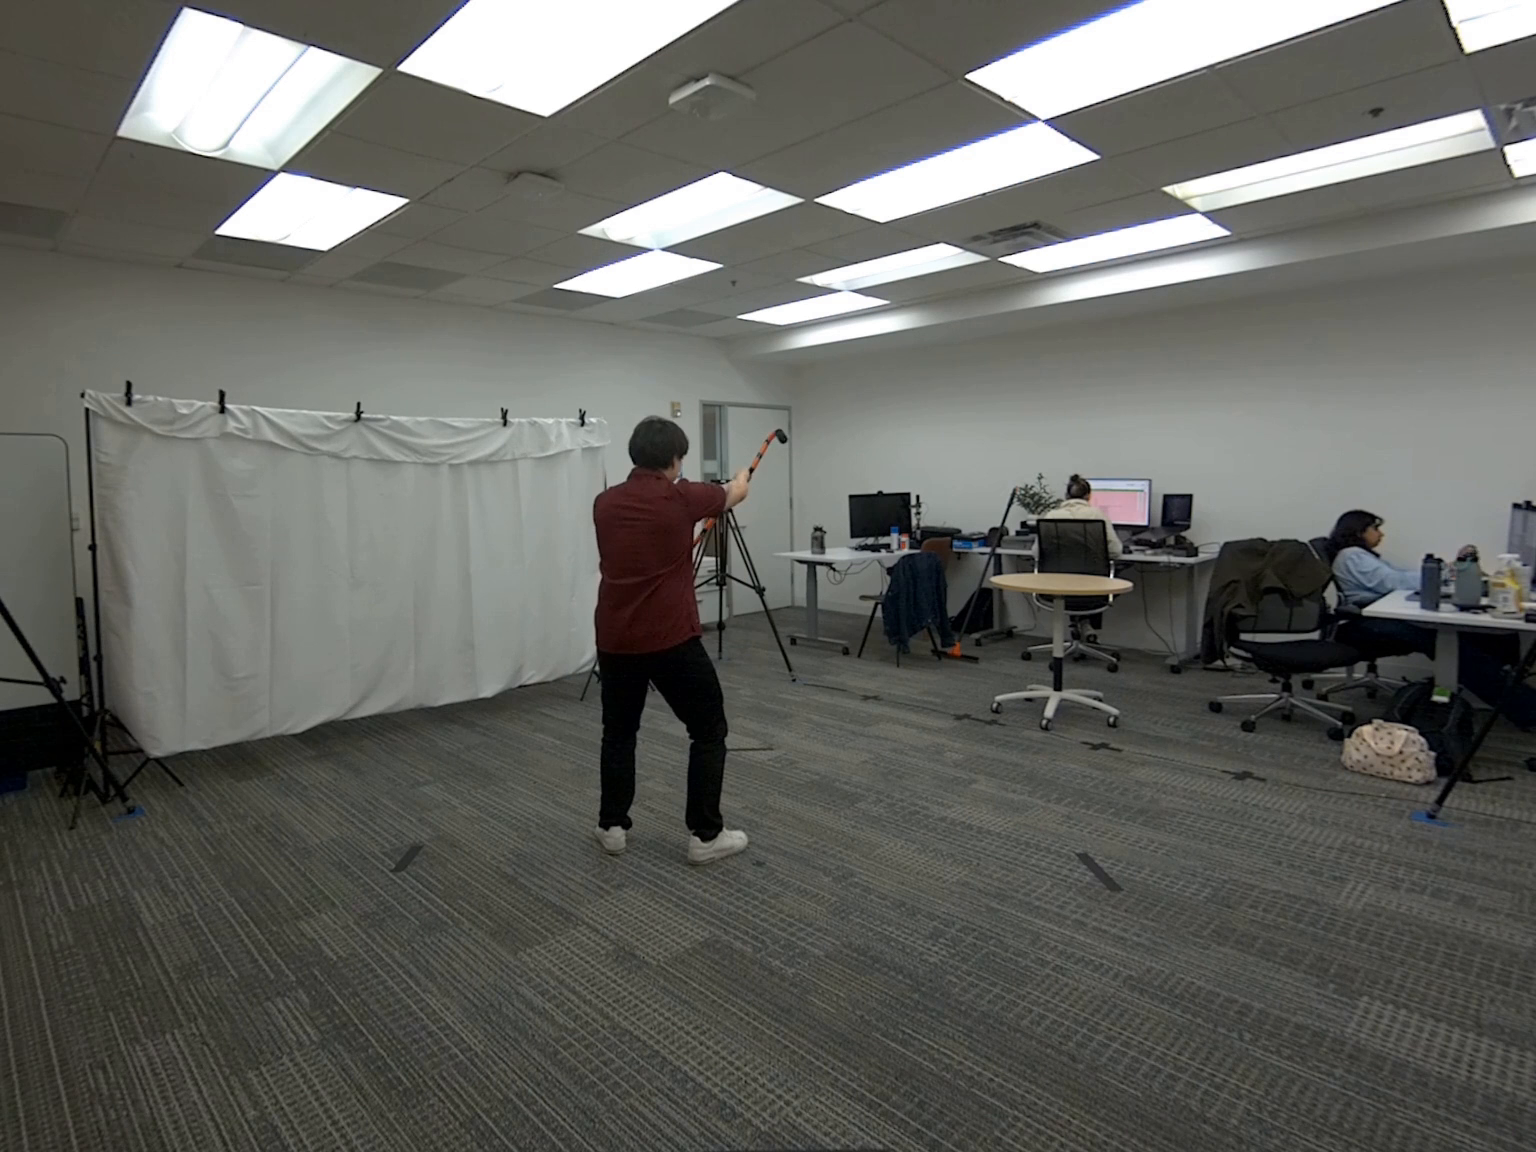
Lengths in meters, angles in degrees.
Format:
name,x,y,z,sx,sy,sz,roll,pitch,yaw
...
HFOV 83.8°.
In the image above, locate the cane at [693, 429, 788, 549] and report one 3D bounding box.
name,x,y,z,sx,sy,sz,roll,pitch,yaw
cane,-0.202,-0.253,3.668,0.148,0.906,0.211,34,16,-17
